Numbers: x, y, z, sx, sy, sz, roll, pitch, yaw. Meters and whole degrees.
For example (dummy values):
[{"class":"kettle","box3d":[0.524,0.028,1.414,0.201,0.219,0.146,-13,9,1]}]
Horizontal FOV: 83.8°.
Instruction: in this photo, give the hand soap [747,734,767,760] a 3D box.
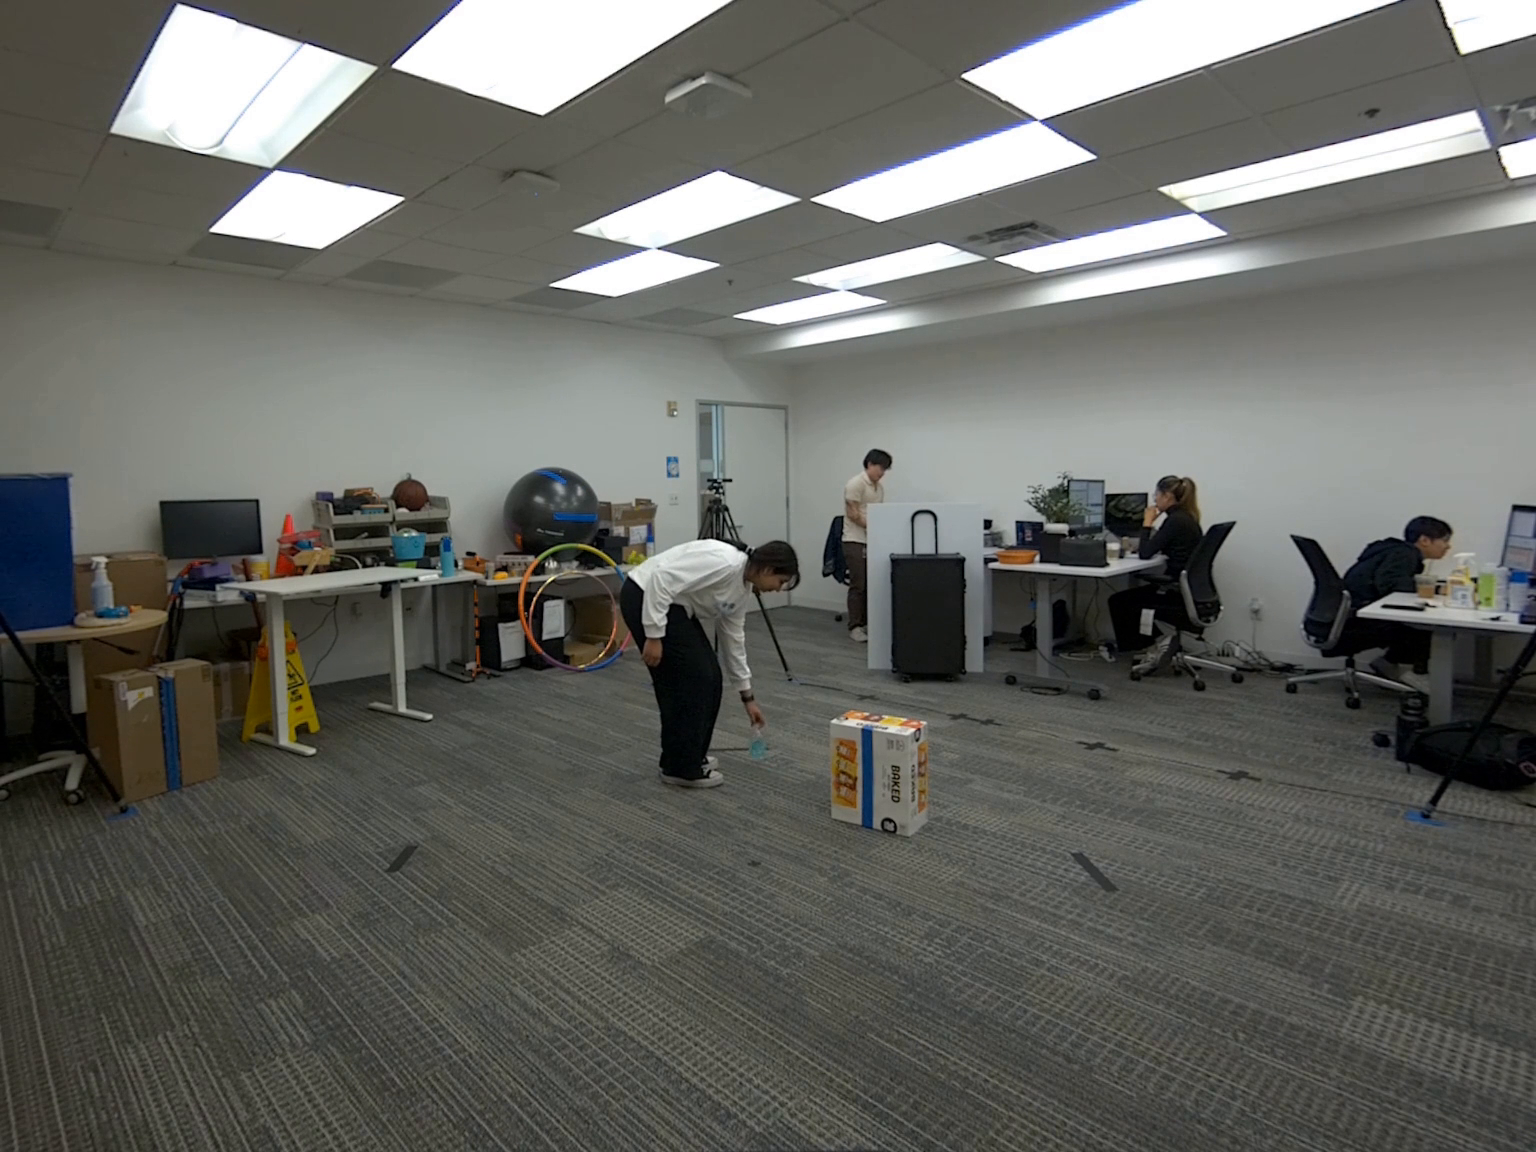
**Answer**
[{"class":"hand soap","box3d":[-0.060,0.791,4.126,0.084,0.167,0.044,-2,6,-10]}]
